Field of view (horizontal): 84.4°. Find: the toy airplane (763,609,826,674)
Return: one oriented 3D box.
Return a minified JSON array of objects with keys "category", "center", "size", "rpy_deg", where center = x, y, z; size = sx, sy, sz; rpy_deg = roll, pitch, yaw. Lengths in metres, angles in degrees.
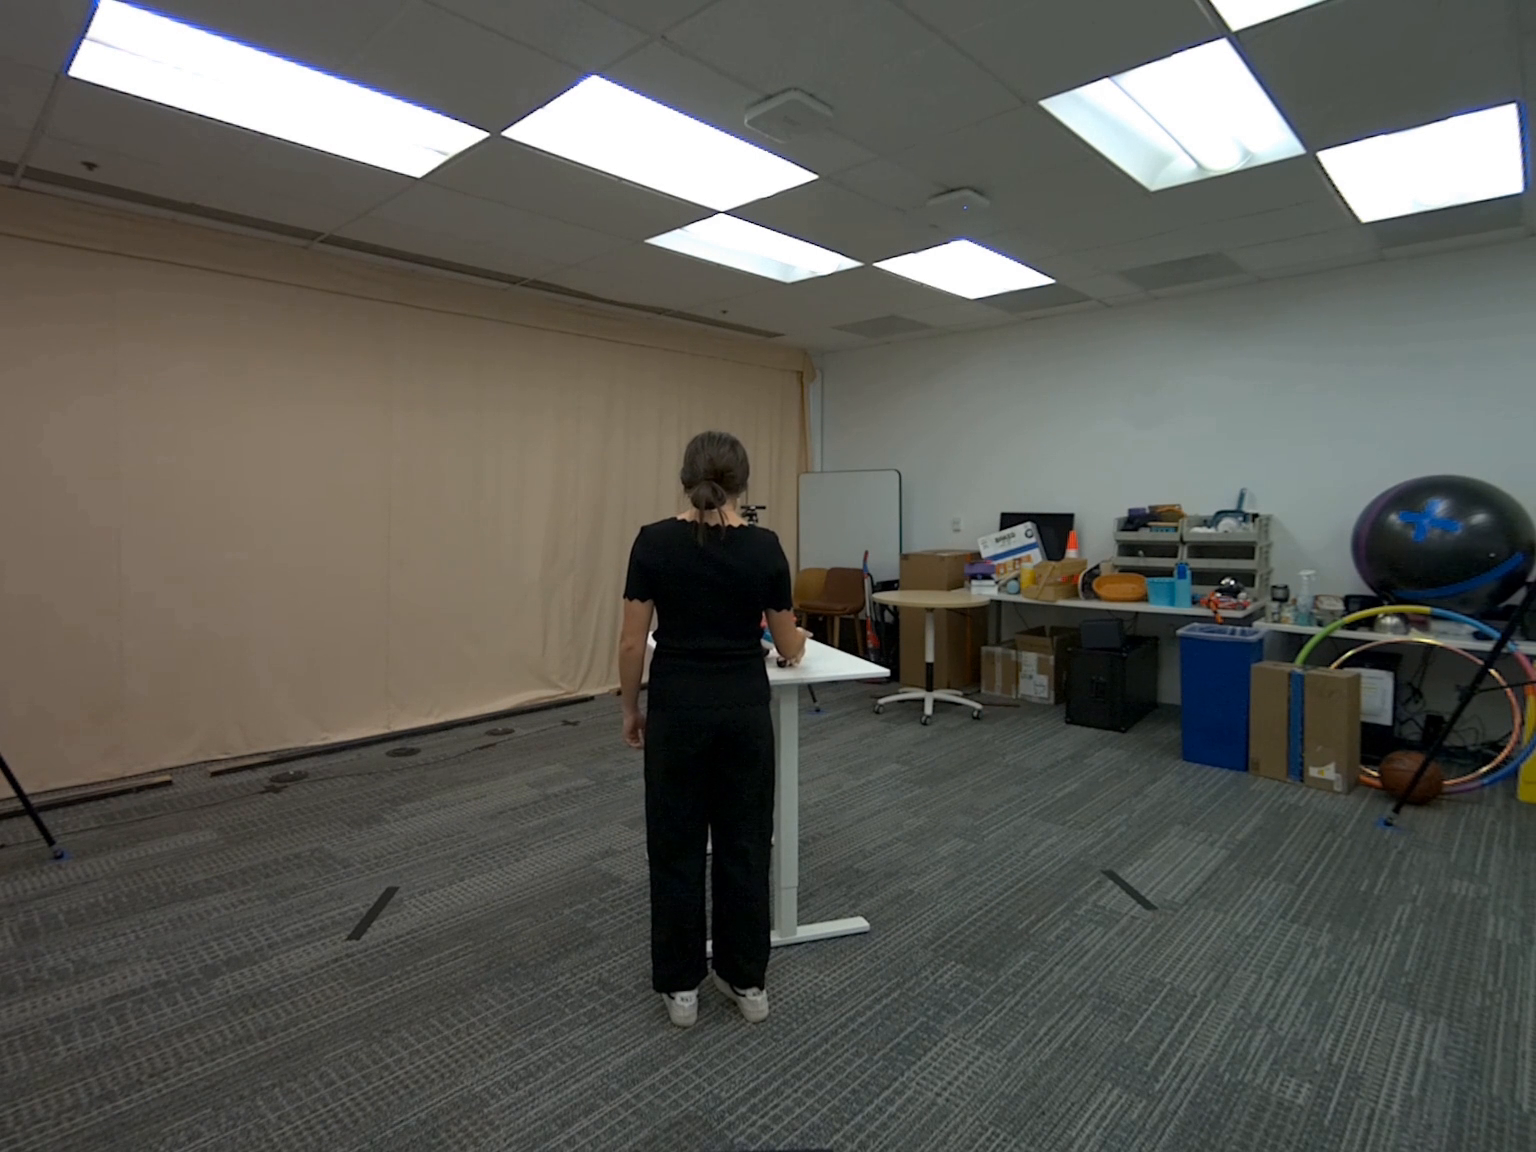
[{"category":"toy airplane","center":[0.018,0.203,2.755],"size":[0.266,0.156,0.245],"rpy_deg":[0,6,26]}]
